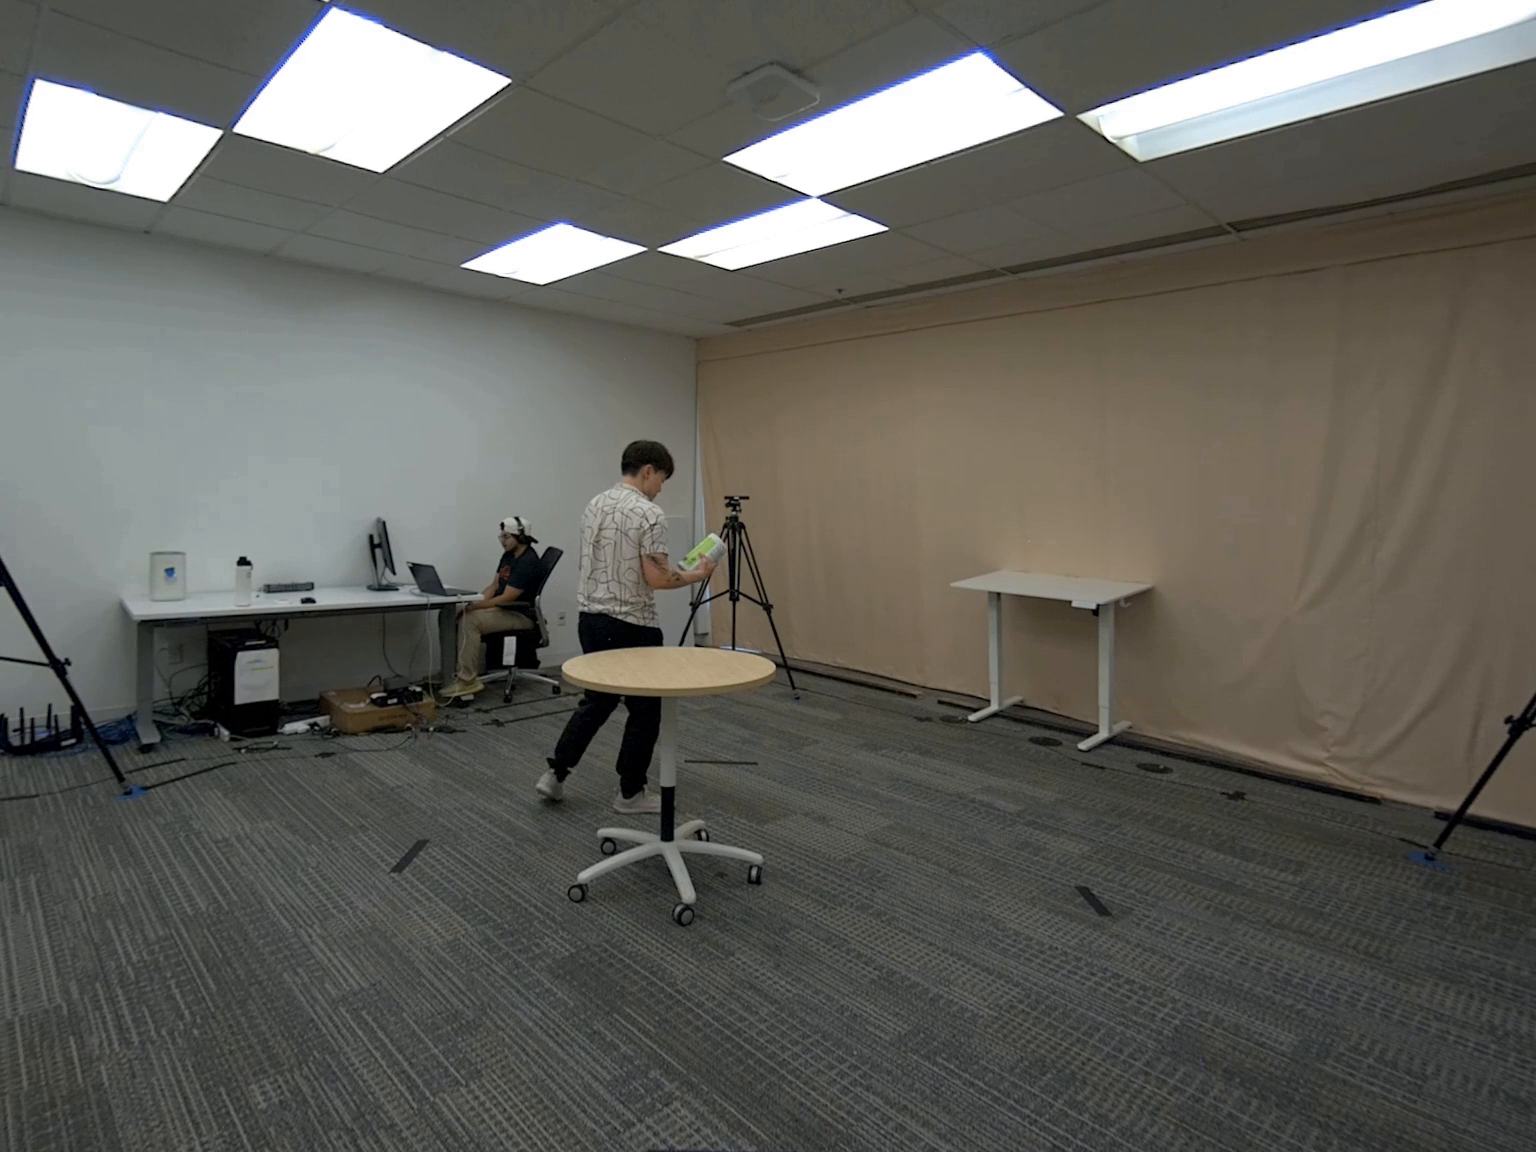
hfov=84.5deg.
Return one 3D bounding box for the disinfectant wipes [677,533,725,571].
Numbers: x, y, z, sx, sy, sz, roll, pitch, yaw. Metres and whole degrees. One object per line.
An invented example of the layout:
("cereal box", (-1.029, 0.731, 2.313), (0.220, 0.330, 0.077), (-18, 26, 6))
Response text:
("disinfectant wipes", (-0.313, -0.085, 3.769), (0.217, 0.116, 0.120), (-44, 16, -10))
